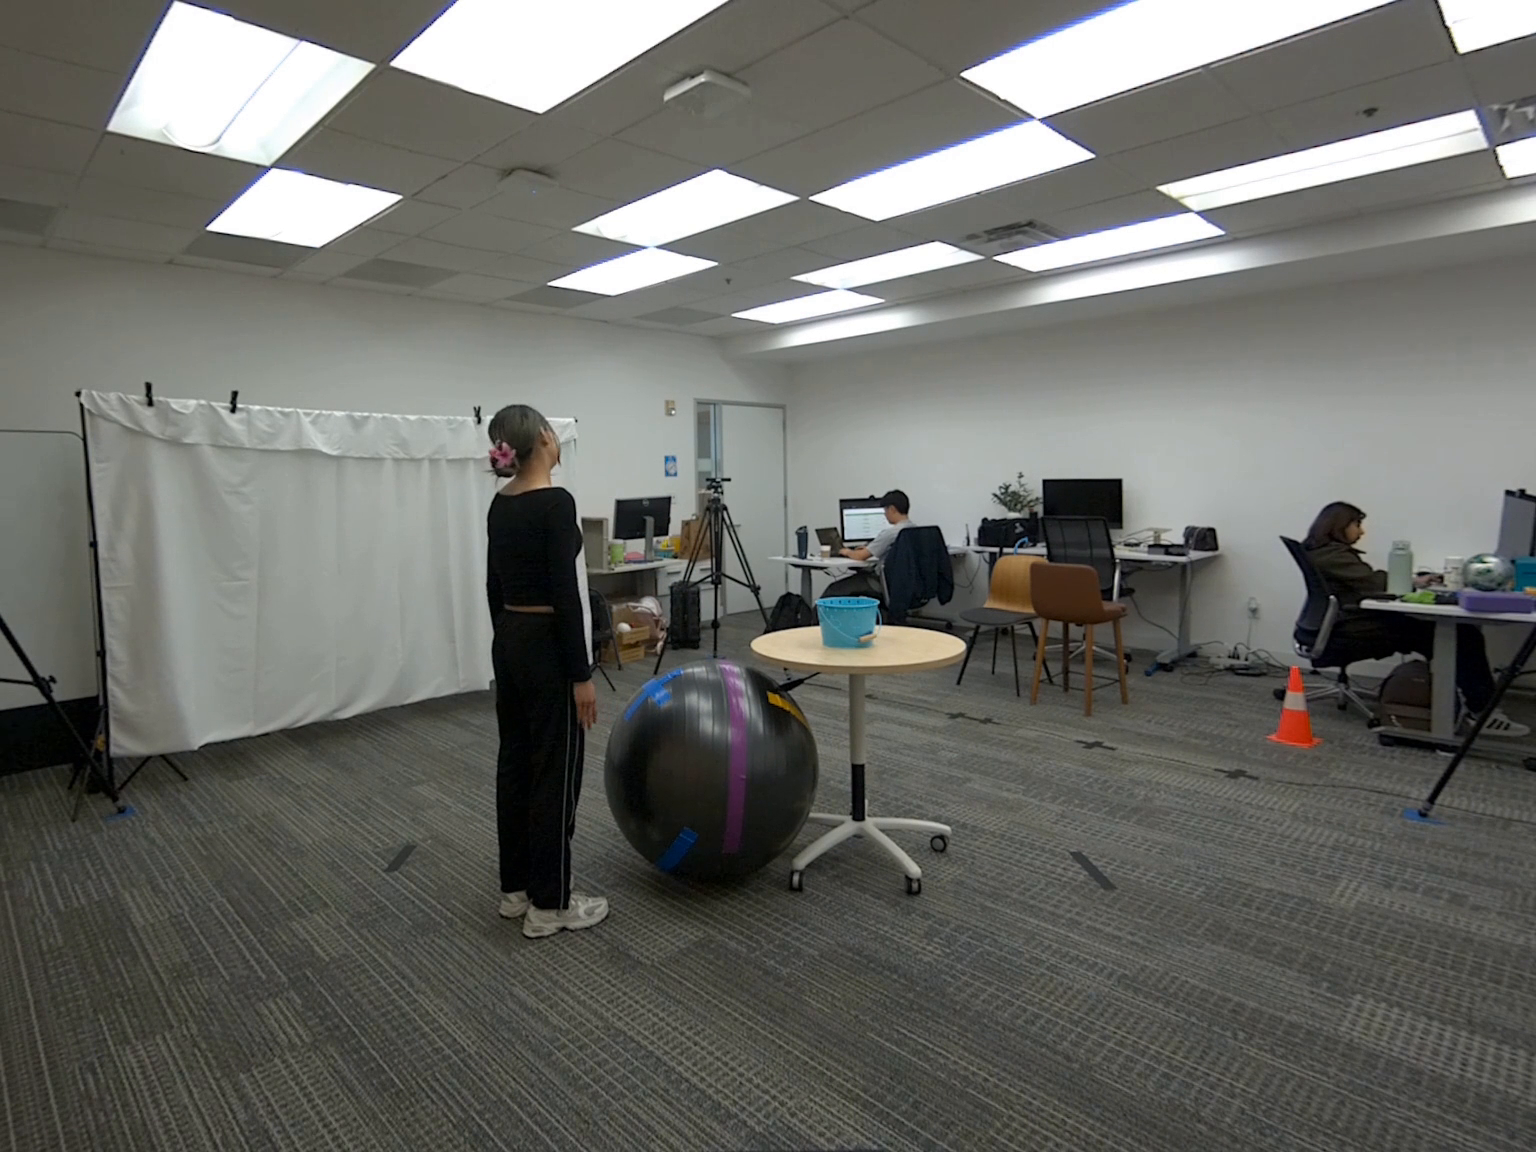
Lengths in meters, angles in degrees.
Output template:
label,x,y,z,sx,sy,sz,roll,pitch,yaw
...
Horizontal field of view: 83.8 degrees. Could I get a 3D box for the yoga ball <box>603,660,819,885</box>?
label,x,y,z,sx,sy,sz,roll,pitch,yaw
yoga ball,-0.211,0.691,3.036,0.757,0.755,0.762,-1,5,-2
